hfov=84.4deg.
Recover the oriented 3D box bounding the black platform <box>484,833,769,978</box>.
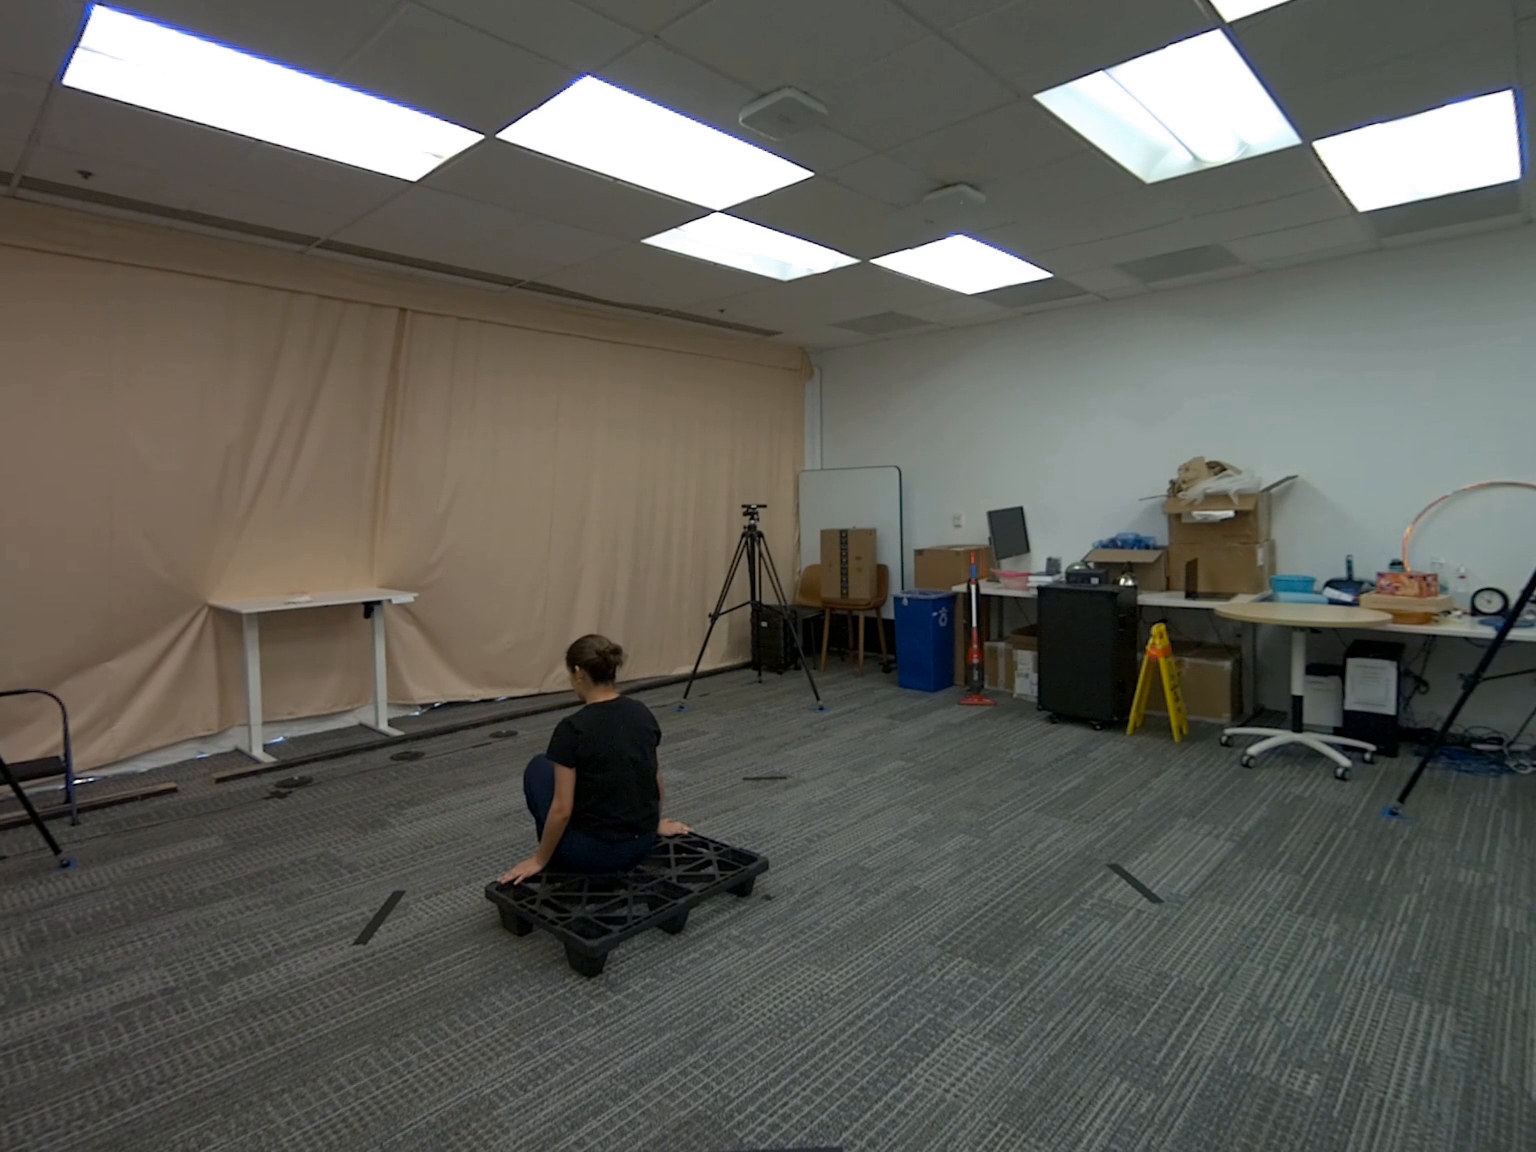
[{"bbox_3d":[-0.447,1.088,2.907,0.625,0.143,0.781,4,7,42],"label":"black platform"}]
